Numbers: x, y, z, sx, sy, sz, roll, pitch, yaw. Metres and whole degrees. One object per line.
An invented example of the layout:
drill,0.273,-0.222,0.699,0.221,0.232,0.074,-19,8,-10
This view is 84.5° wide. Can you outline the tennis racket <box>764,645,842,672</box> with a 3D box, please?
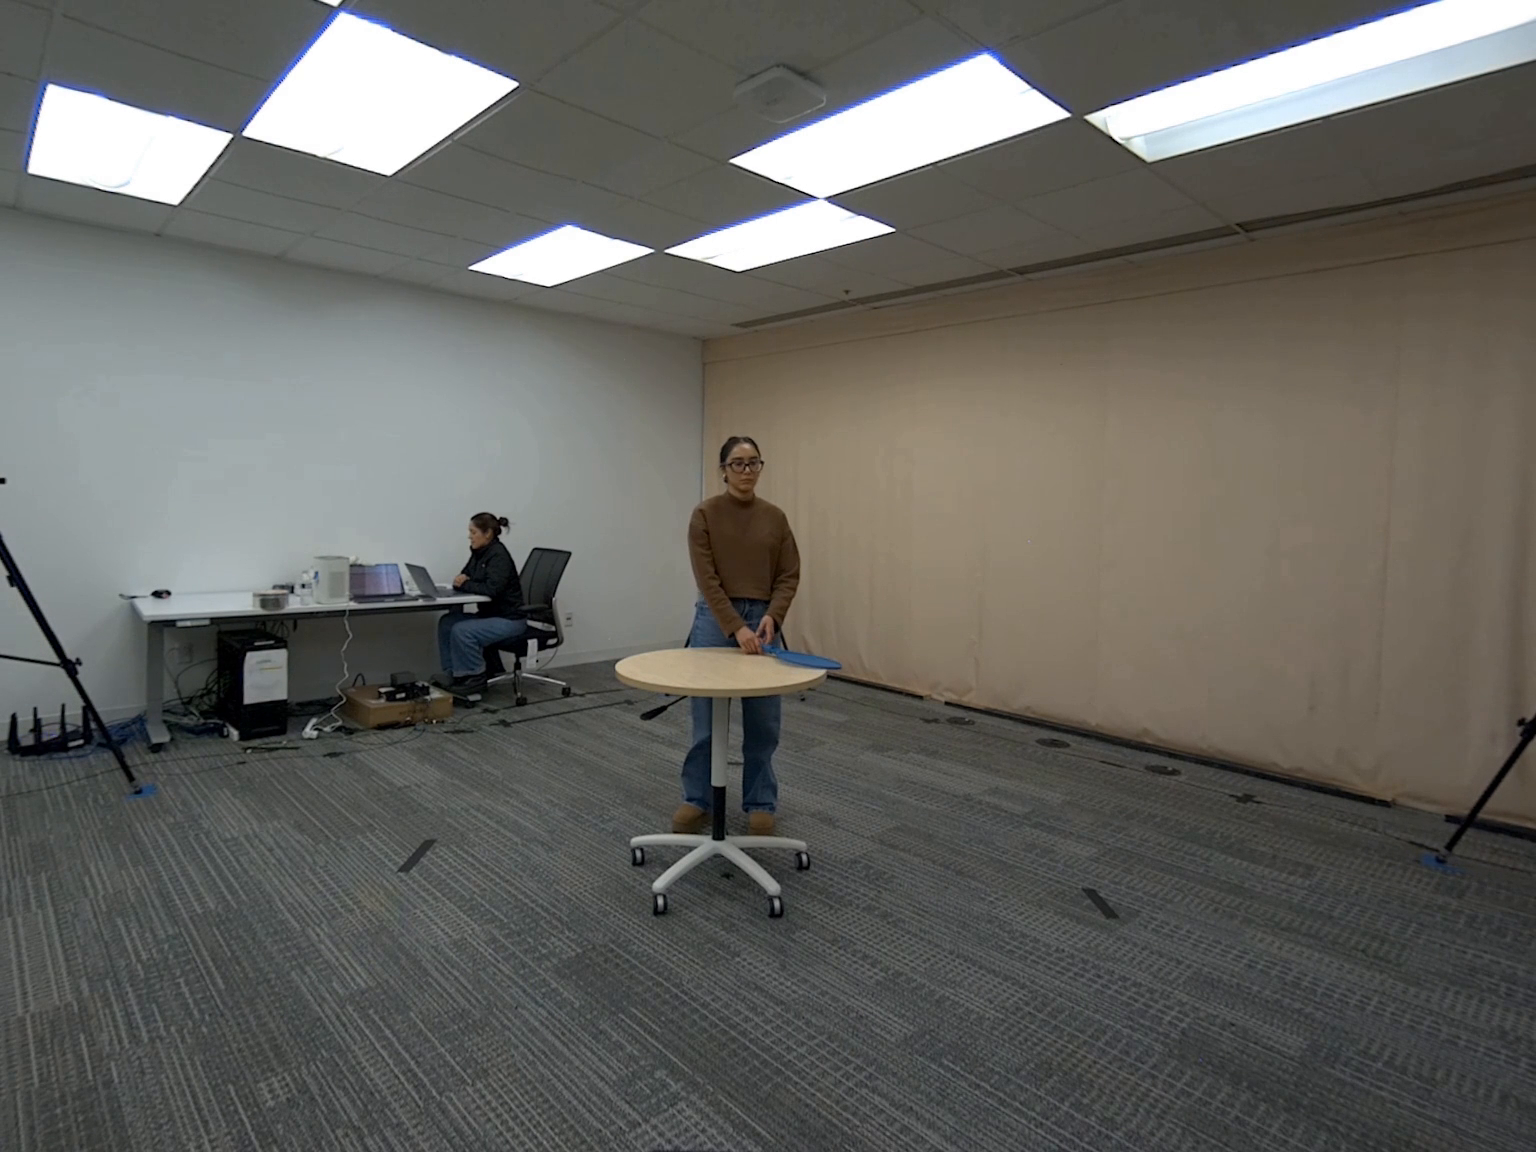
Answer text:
tennis racket,0.094,0.311,3.198,0.209,0.032,0.443,3,4,-32
